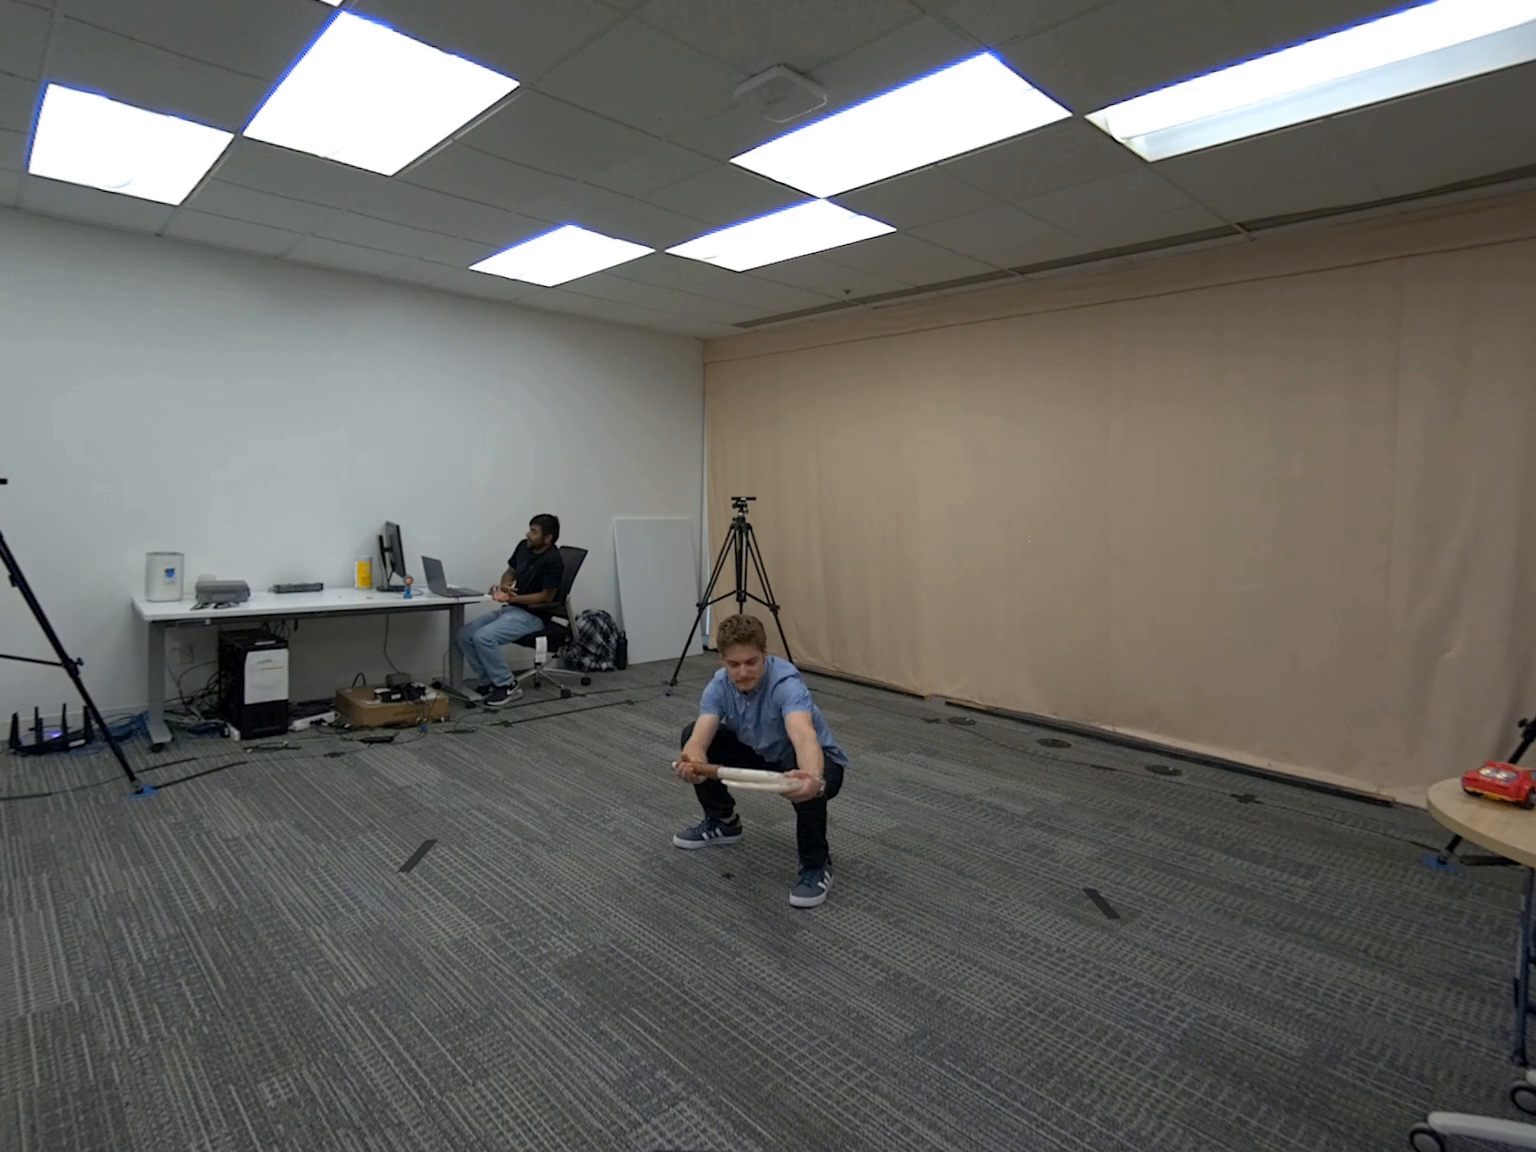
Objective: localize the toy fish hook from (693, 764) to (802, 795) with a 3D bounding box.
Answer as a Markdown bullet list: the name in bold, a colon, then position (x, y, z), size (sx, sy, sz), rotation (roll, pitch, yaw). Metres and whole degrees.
- **toy fish hook**: position (-0.132, 0.616, 2.570), size (0.517, 0.048, 0.218), rotation (-2, -9, 33)
